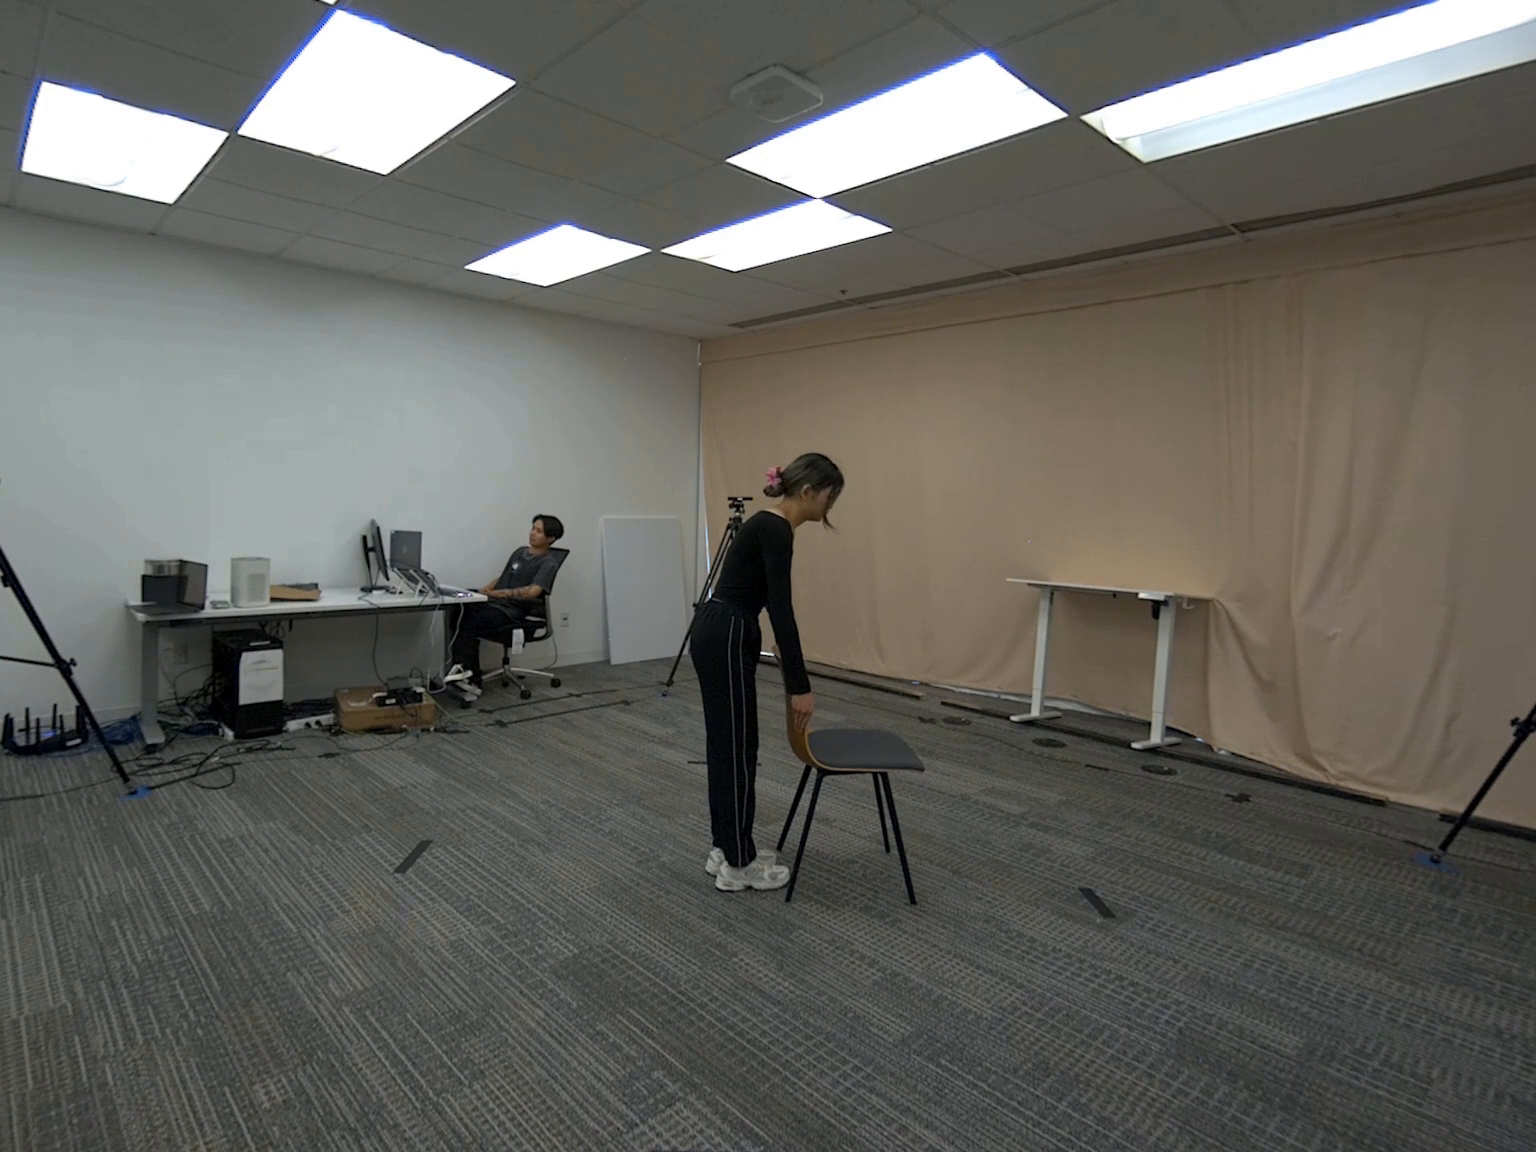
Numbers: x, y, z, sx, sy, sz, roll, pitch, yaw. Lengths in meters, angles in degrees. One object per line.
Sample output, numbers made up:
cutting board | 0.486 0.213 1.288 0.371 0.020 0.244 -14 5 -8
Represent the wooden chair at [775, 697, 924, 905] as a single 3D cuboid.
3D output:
wooden chair | 0.288 0.688 3.111 0.522 0.876 0.480 -3 3 -3
